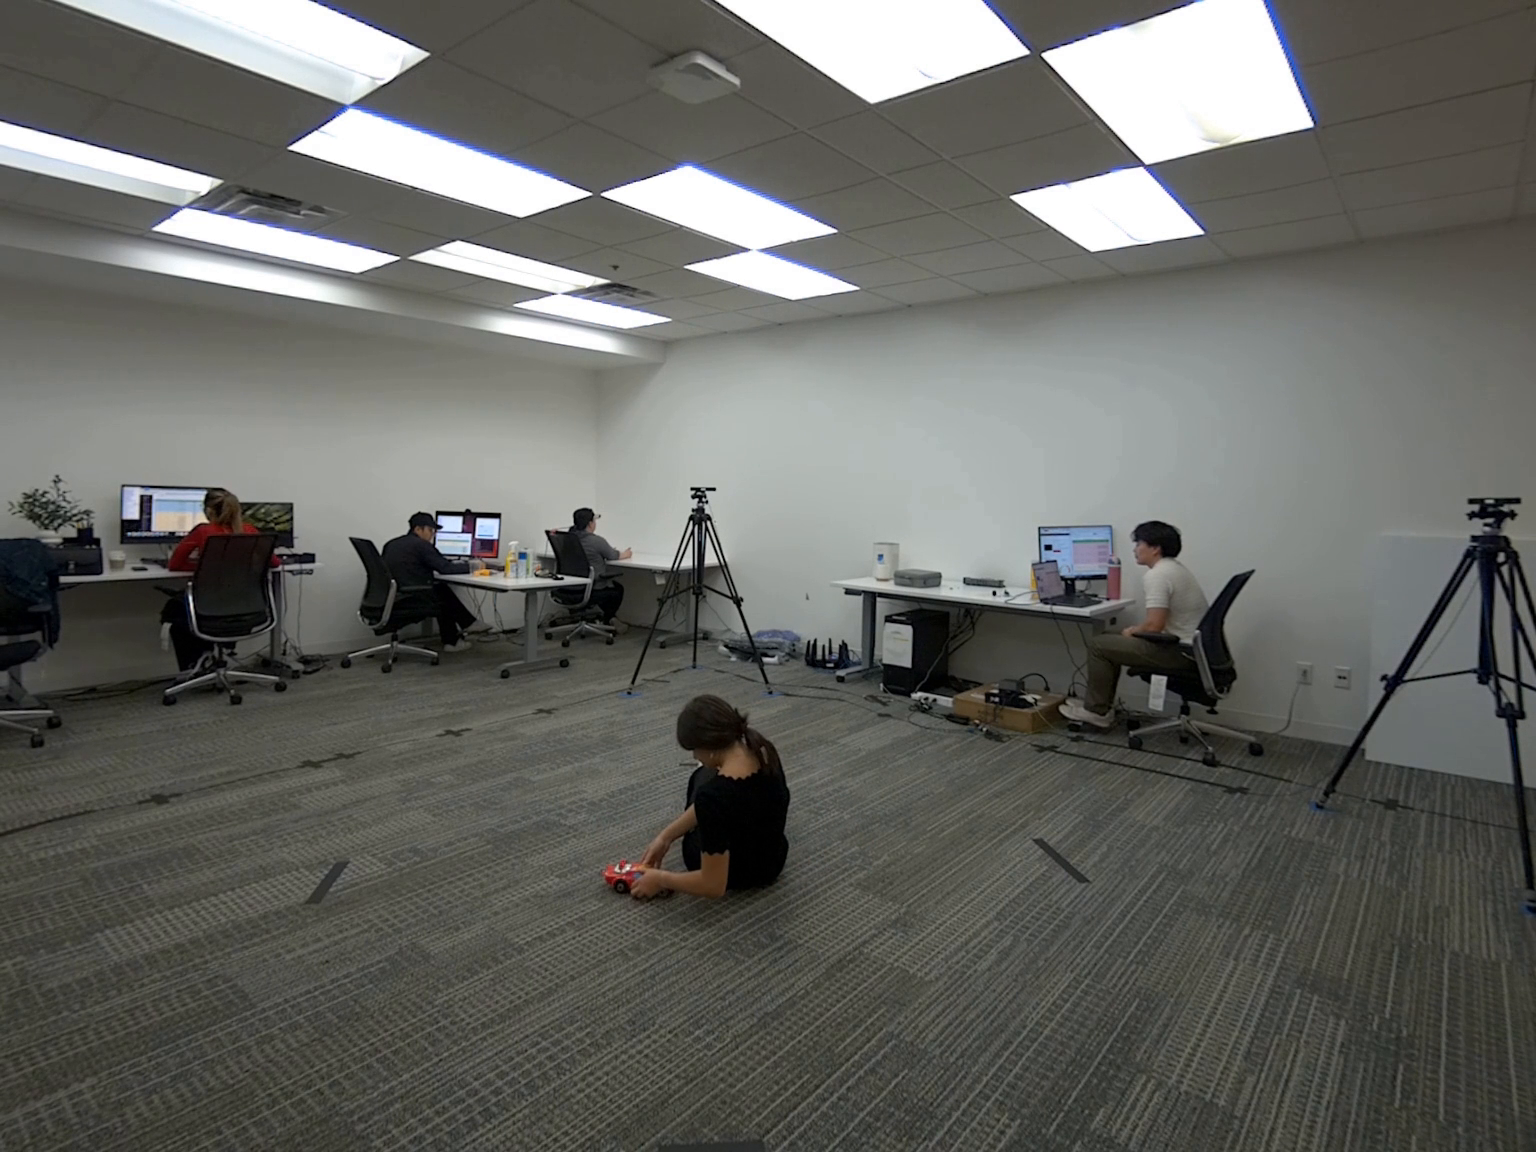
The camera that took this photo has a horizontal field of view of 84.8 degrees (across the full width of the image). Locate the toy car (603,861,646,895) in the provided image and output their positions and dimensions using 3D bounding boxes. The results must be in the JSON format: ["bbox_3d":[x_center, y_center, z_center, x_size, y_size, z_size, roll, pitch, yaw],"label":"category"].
[{"bbox_3d":[-0.462,1.046,2.945,0.257,0.083,0.130,14,5,6],"label":"toy car"}]
